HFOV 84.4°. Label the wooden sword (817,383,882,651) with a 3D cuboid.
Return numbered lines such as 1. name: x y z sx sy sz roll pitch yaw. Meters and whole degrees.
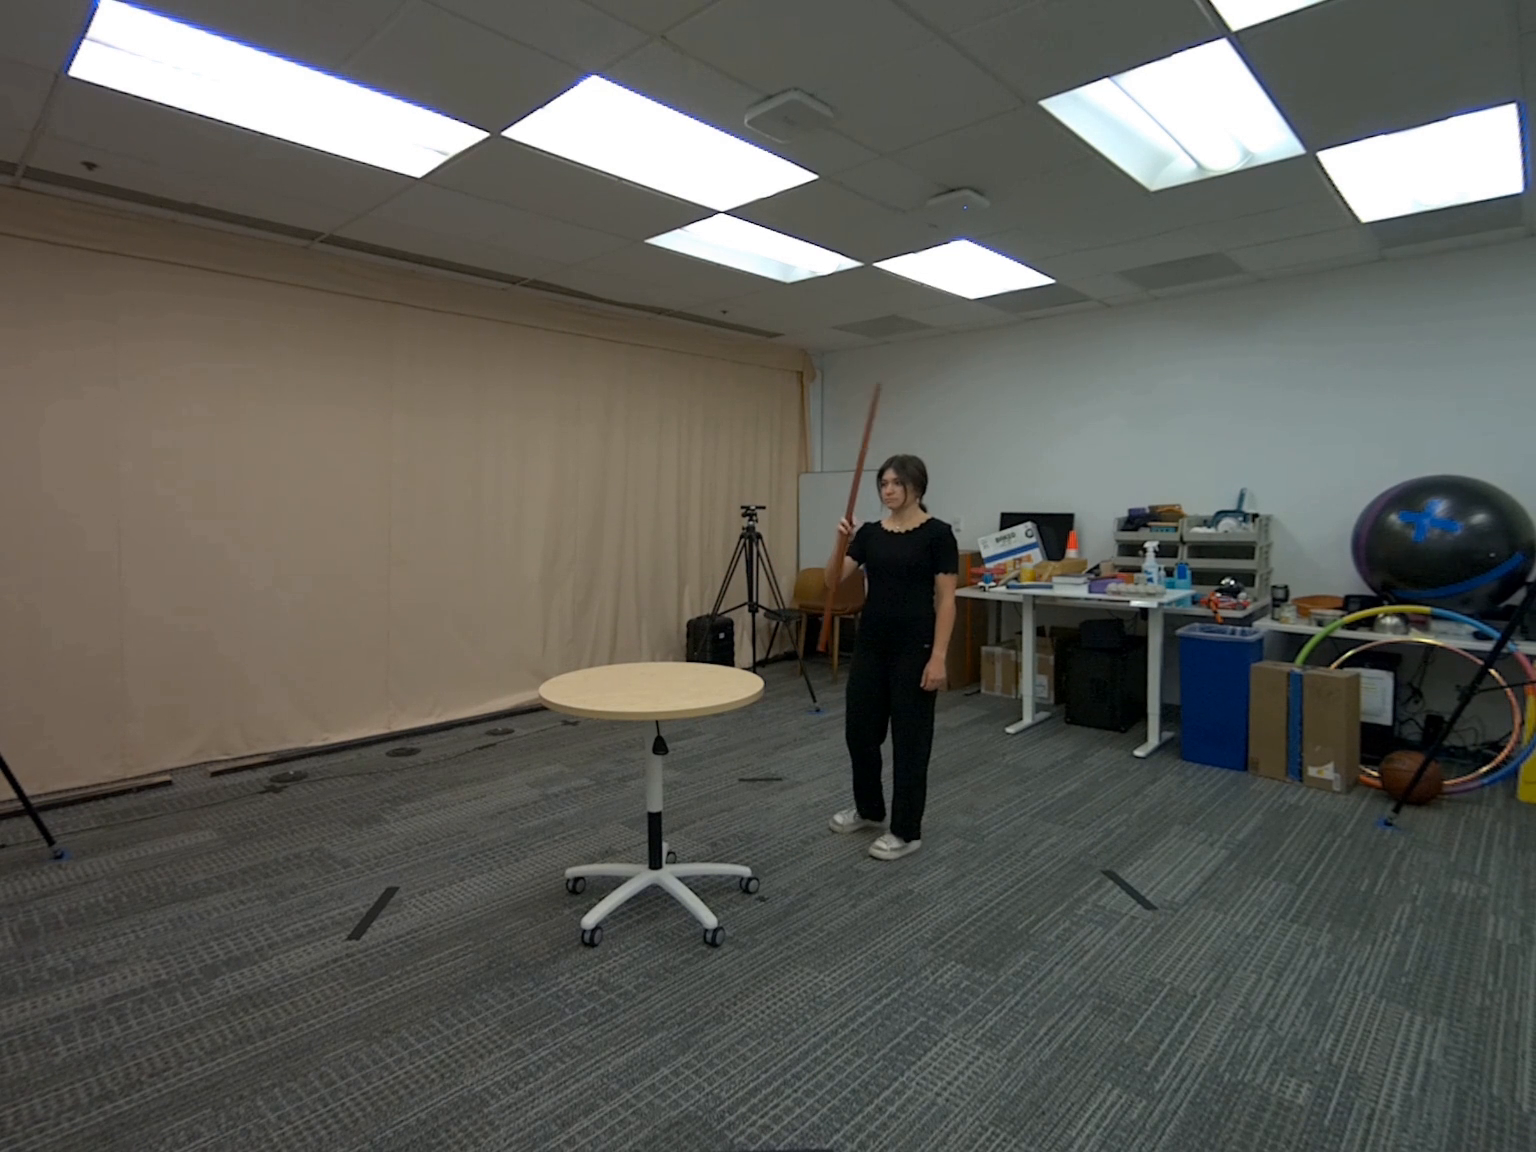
1. wooden sword: 0.293 -0.211 3.177 0.053 1.022 0.023 14 6 36
